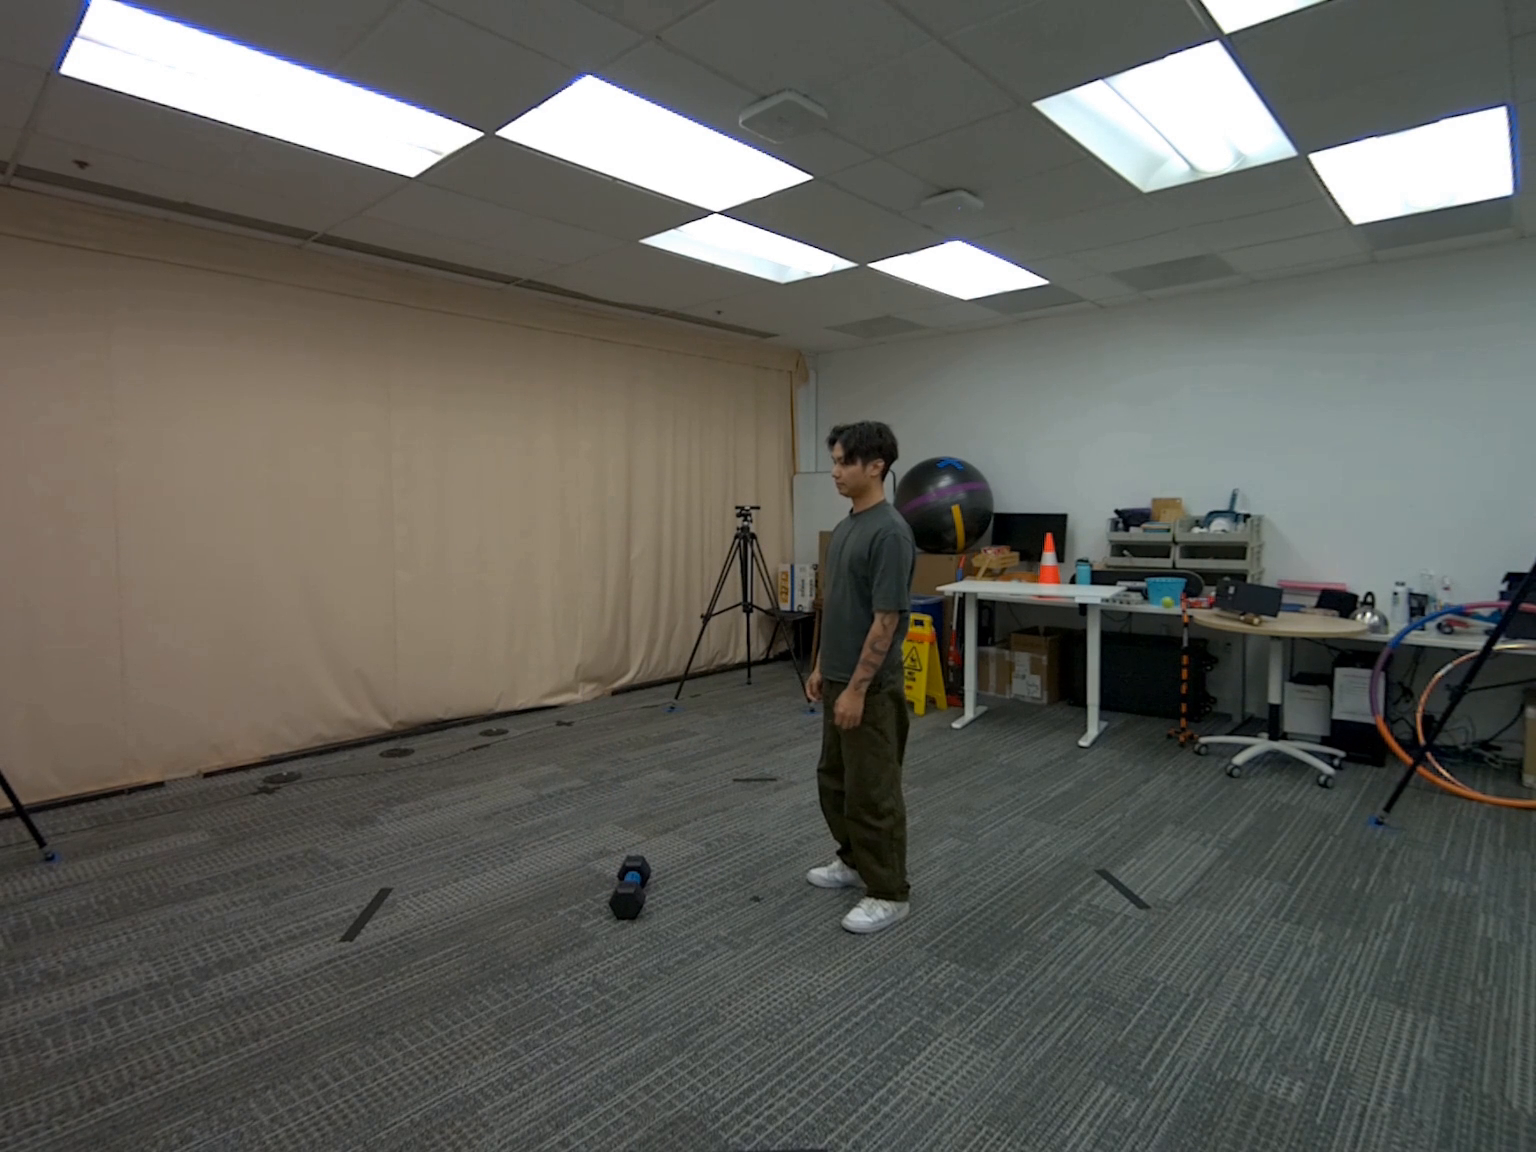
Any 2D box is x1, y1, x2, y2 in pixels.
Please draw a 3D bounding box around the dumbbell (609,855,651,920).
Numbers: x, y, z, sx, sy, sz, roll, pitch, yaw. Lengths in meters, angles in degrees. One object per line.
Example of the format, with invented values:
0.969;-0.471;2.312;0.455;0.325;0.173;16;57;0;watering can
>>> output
-0.483;1.101;2.972;0.109;0.122;0.294;-30;5;0;dumbbell
